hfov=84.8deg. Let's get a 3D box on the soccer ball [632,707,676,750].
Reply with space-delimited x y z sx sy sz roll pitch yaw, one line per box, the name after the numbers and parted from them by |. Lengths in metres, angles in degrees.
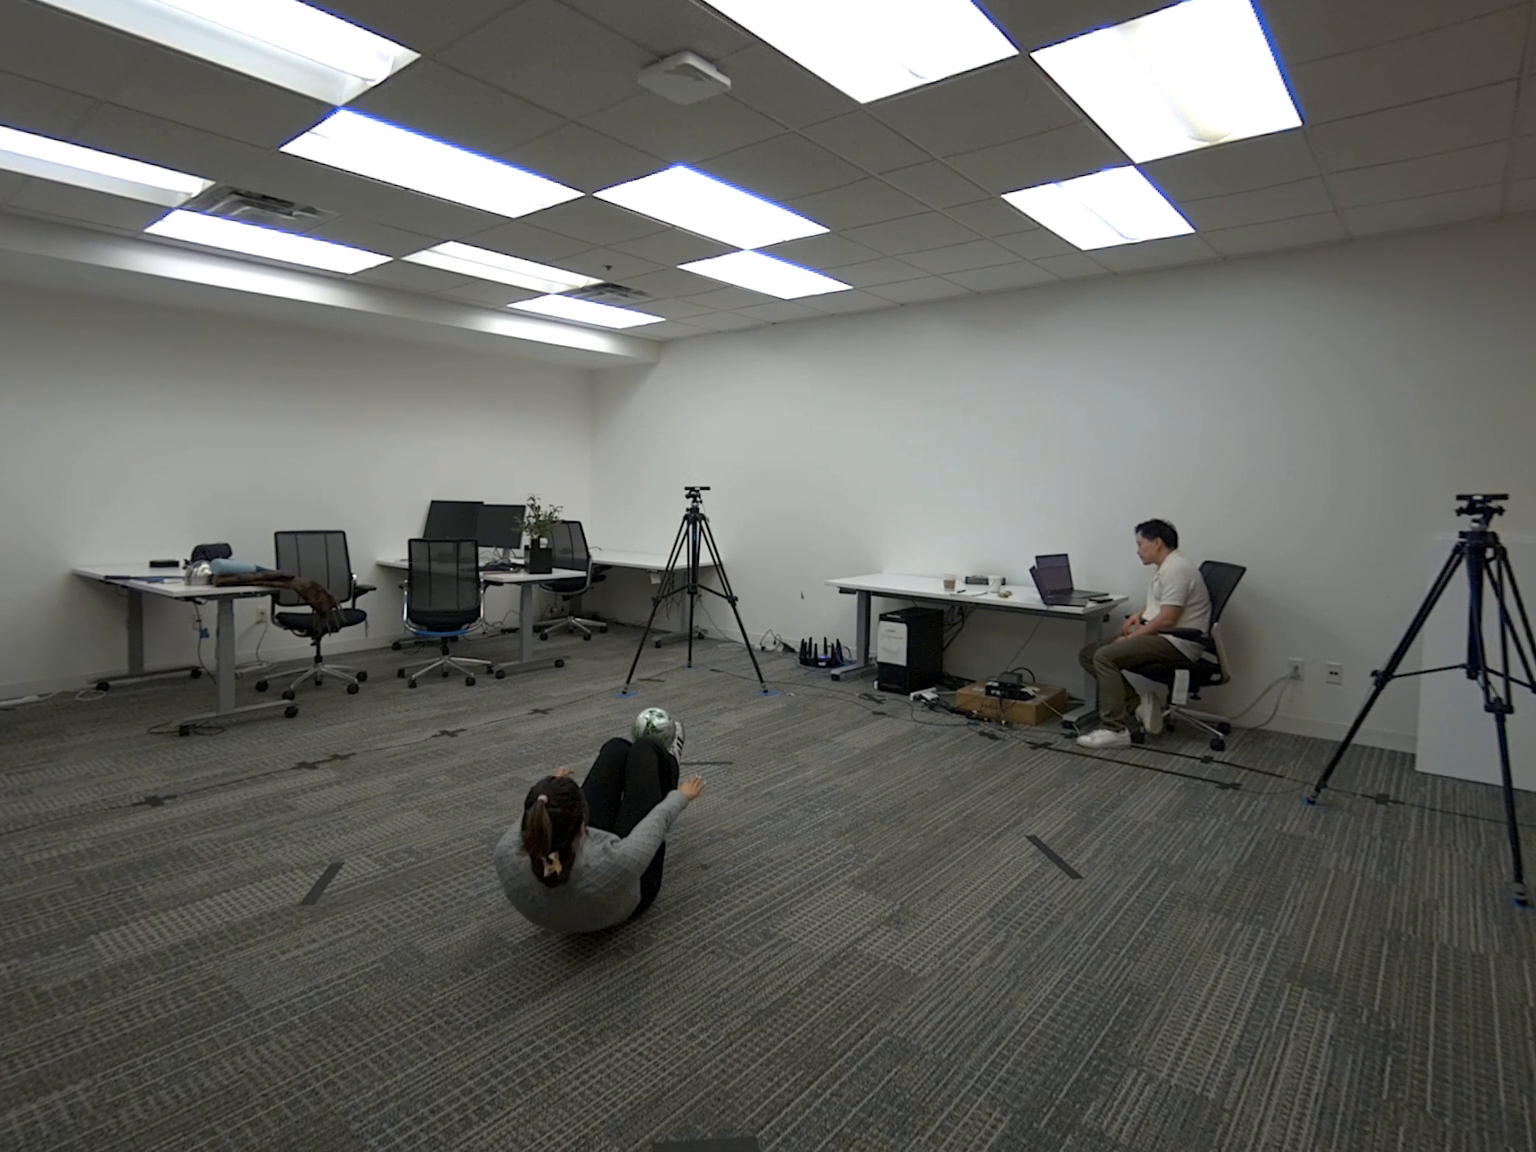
-0.476 0.626 3.463 0.187 0.187 0.188 0 4 -2 | soccer ball
